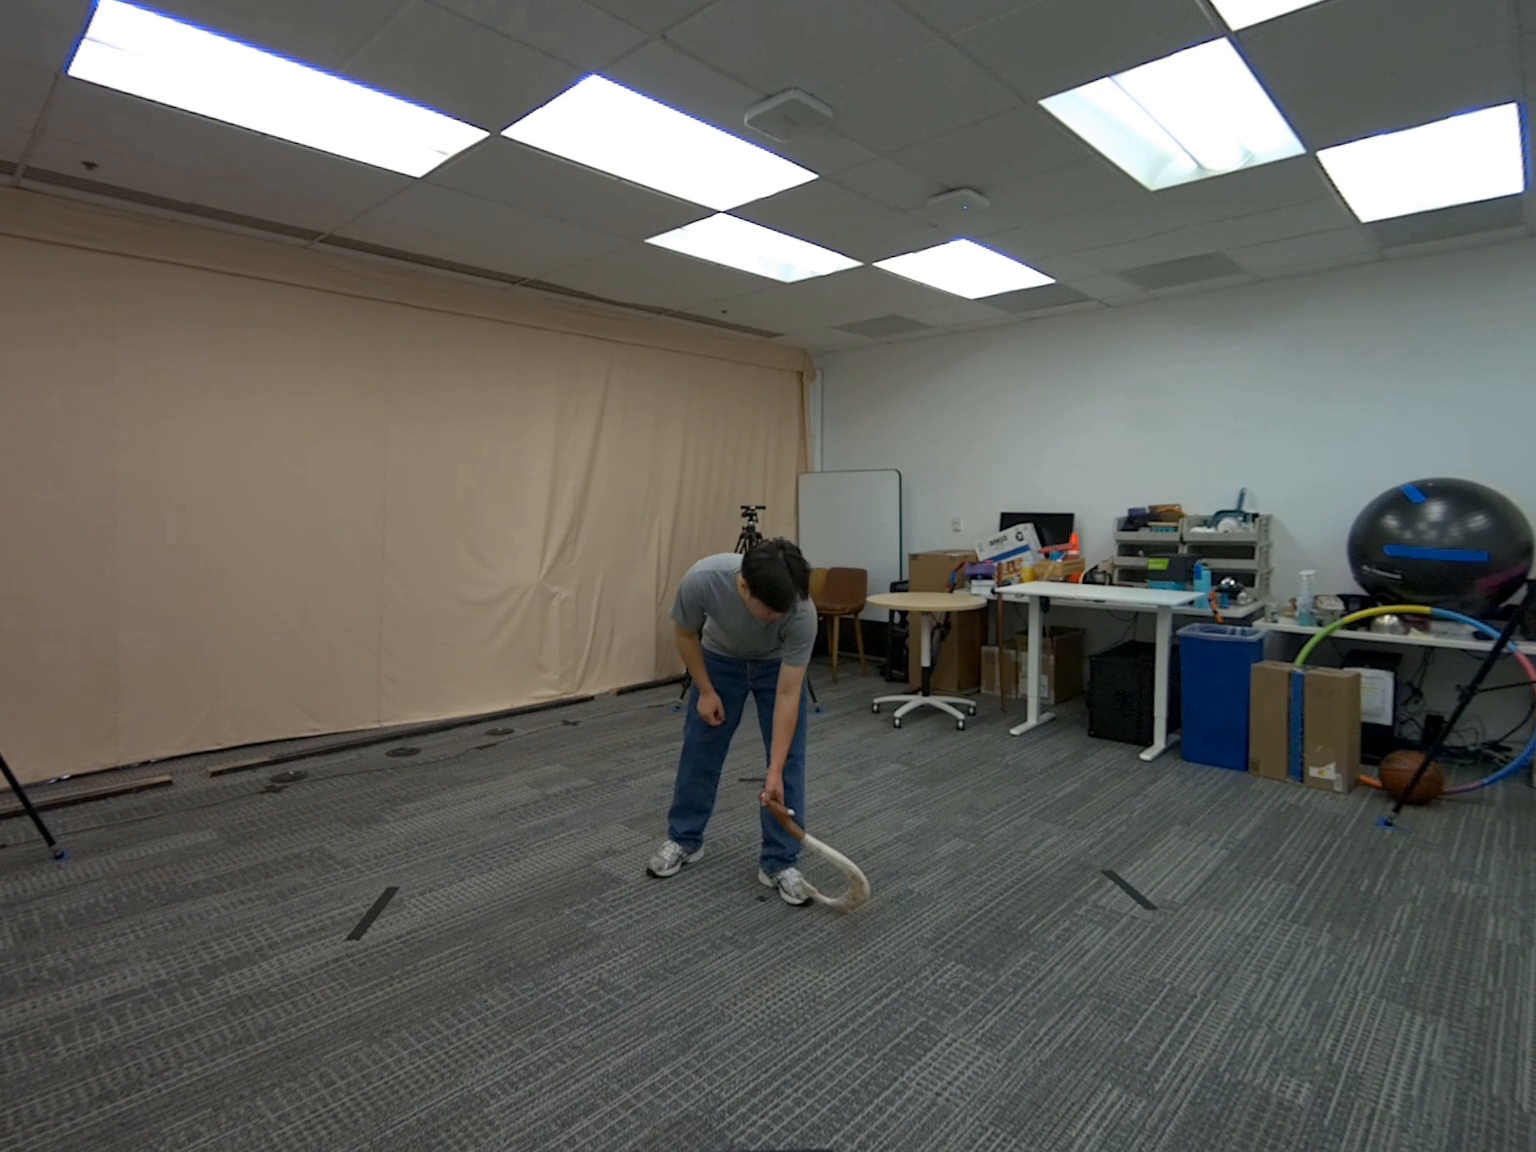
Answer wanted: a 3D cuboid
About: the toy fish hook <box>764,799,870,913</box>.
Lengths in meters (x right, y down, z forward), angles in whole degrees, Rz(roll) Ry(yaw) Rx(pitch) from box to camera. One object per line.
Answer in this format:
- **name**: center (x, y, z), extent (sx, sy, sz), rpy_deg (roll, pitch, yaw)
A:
- **toy fish hook**: center (0.127, 0.948, 2.852), extent (0.226, 0.506, 0.048), rpy_deg (-46, 0, 21)
